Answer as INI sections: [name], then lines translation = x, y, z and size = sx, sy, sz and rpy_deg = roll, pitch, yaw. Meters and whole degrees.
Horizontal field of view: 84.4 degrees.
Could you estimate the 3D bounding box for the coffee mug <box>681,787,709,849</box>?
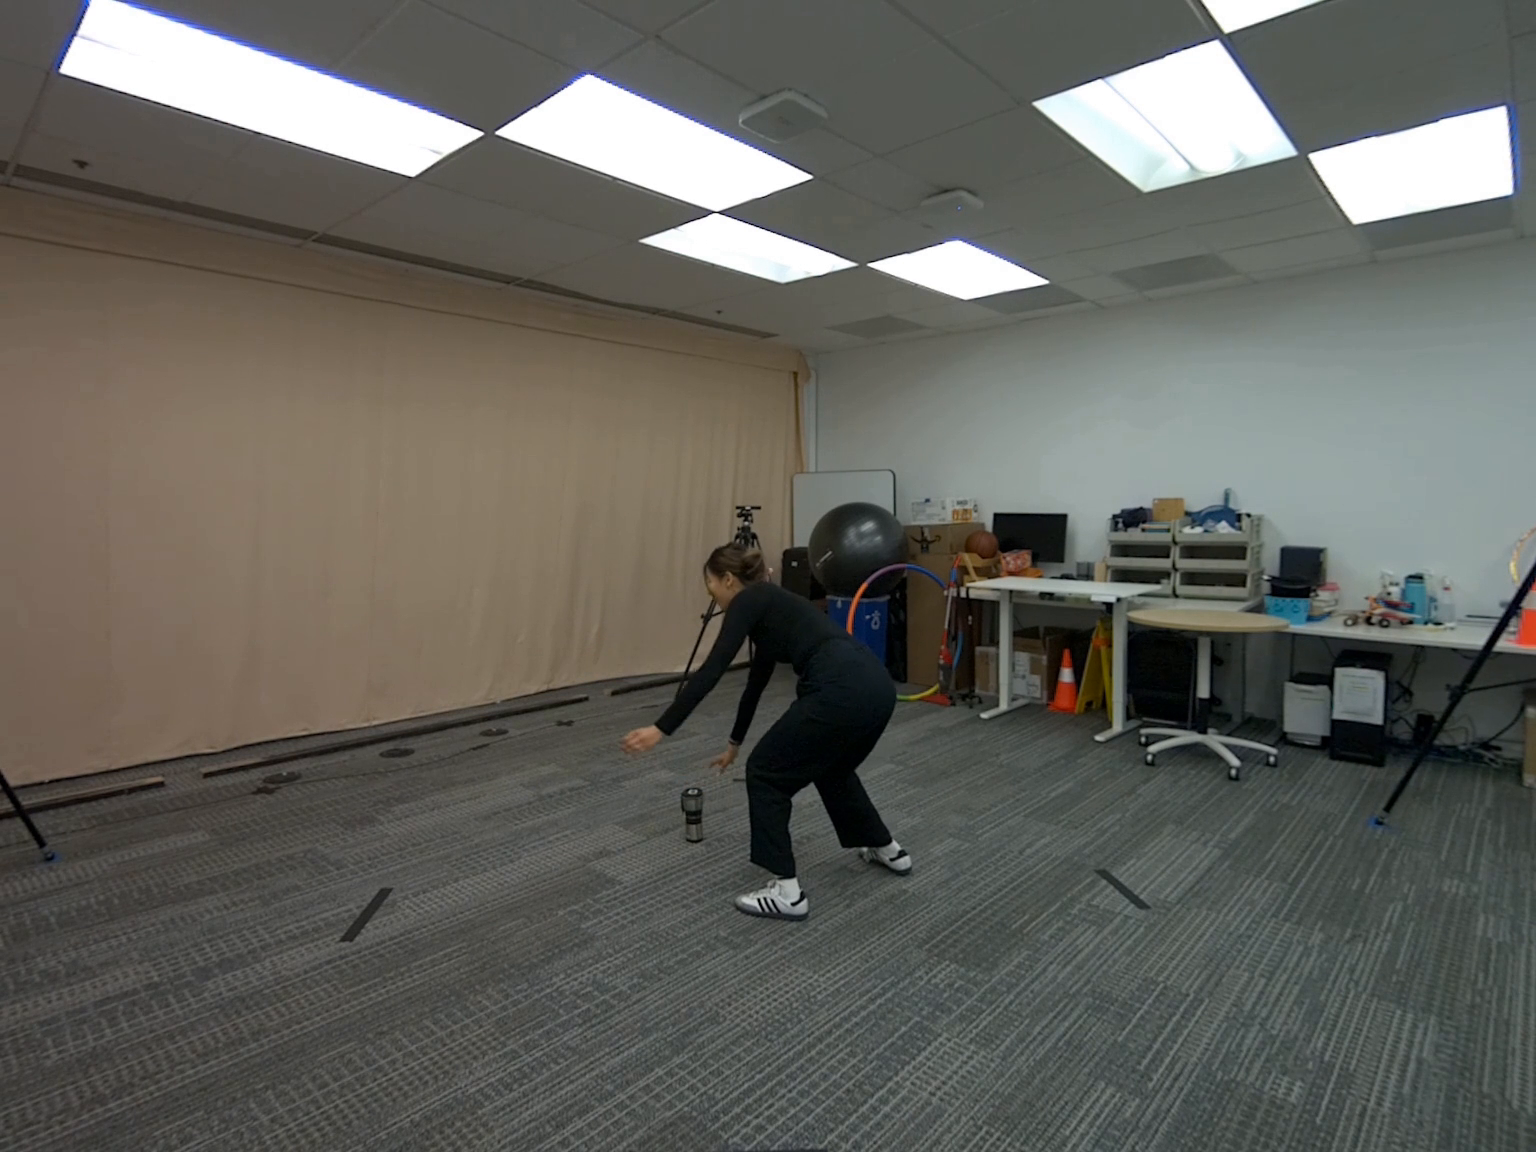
[coffee mug]
translation = -0.306, 1.008, 3.536
size = 0.087, 0.202, 0.124
rpy_deg = -3, 7, -12
